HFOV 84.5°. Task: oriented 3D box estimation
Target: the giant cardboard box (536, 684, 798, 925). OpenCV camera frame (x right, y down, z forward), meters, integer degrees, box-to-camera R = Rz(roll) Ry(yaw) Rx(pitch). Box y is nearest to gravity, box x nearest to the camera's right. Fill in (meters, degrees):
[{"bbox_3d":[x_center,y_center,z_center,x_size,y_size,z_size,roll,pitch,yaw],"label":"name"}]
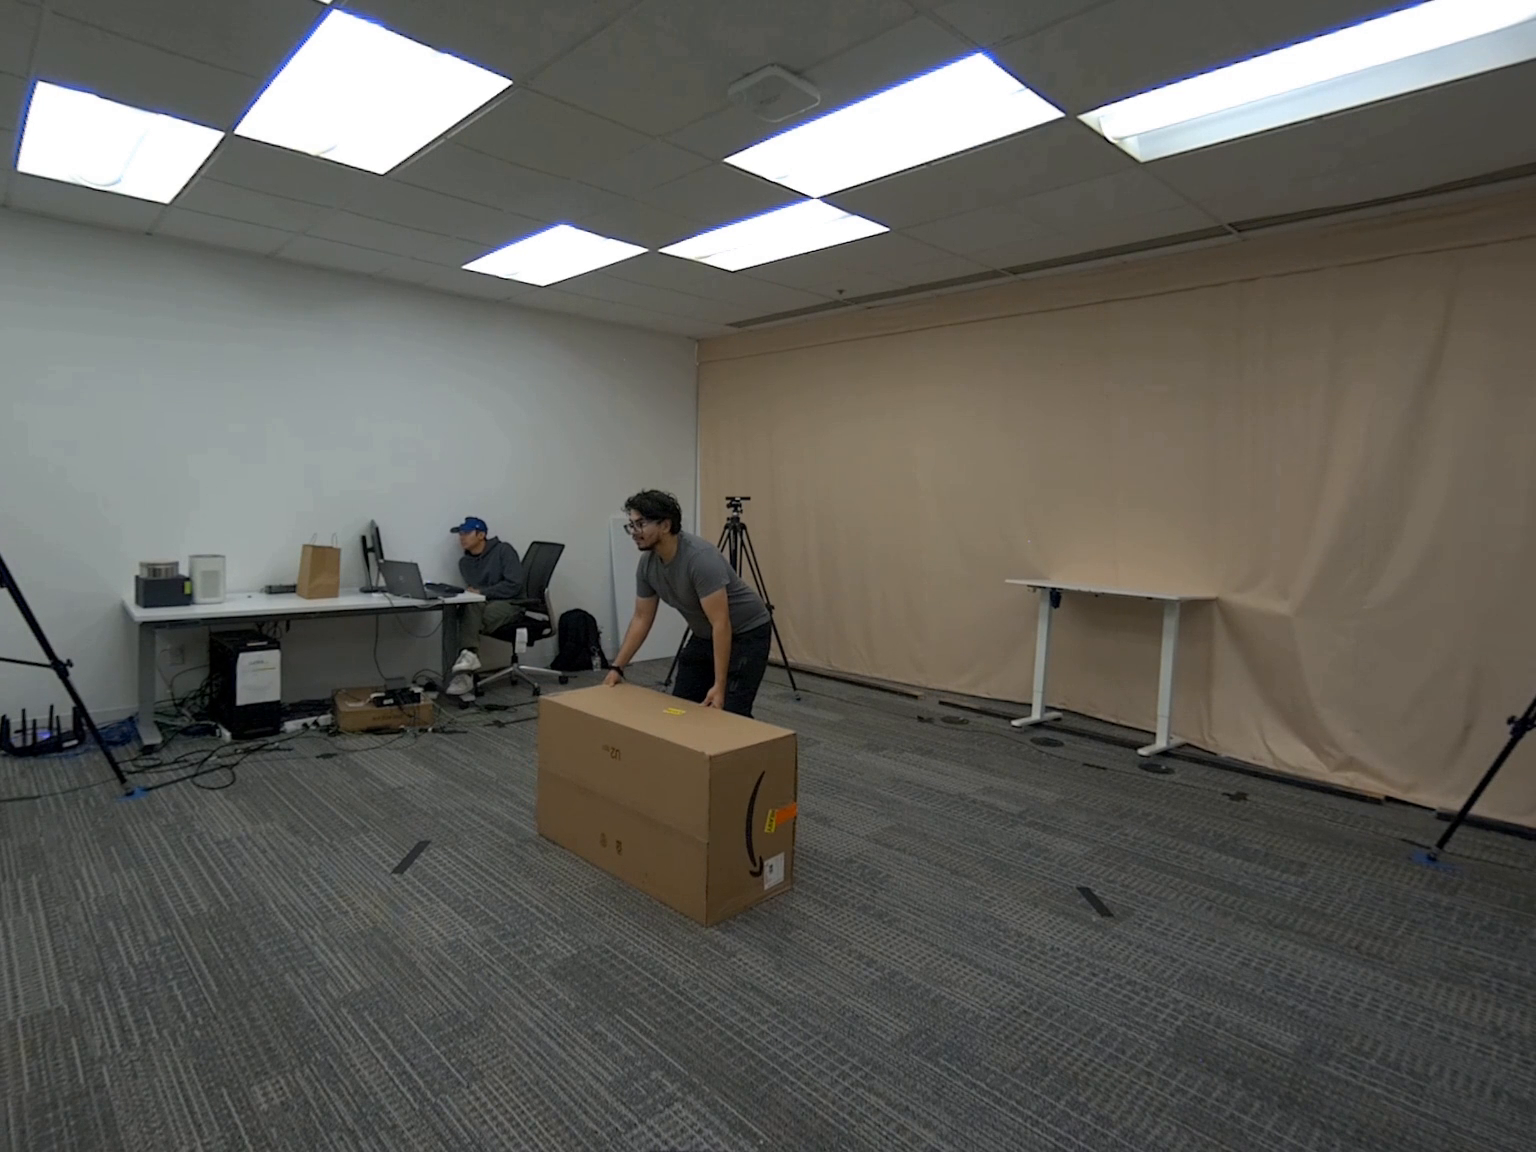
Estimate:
[{"bbox_3d":[-0.425,0.806,3.211,1.052,0.576,0.416,6,6,44],"label":"giant cardboard box"}]
